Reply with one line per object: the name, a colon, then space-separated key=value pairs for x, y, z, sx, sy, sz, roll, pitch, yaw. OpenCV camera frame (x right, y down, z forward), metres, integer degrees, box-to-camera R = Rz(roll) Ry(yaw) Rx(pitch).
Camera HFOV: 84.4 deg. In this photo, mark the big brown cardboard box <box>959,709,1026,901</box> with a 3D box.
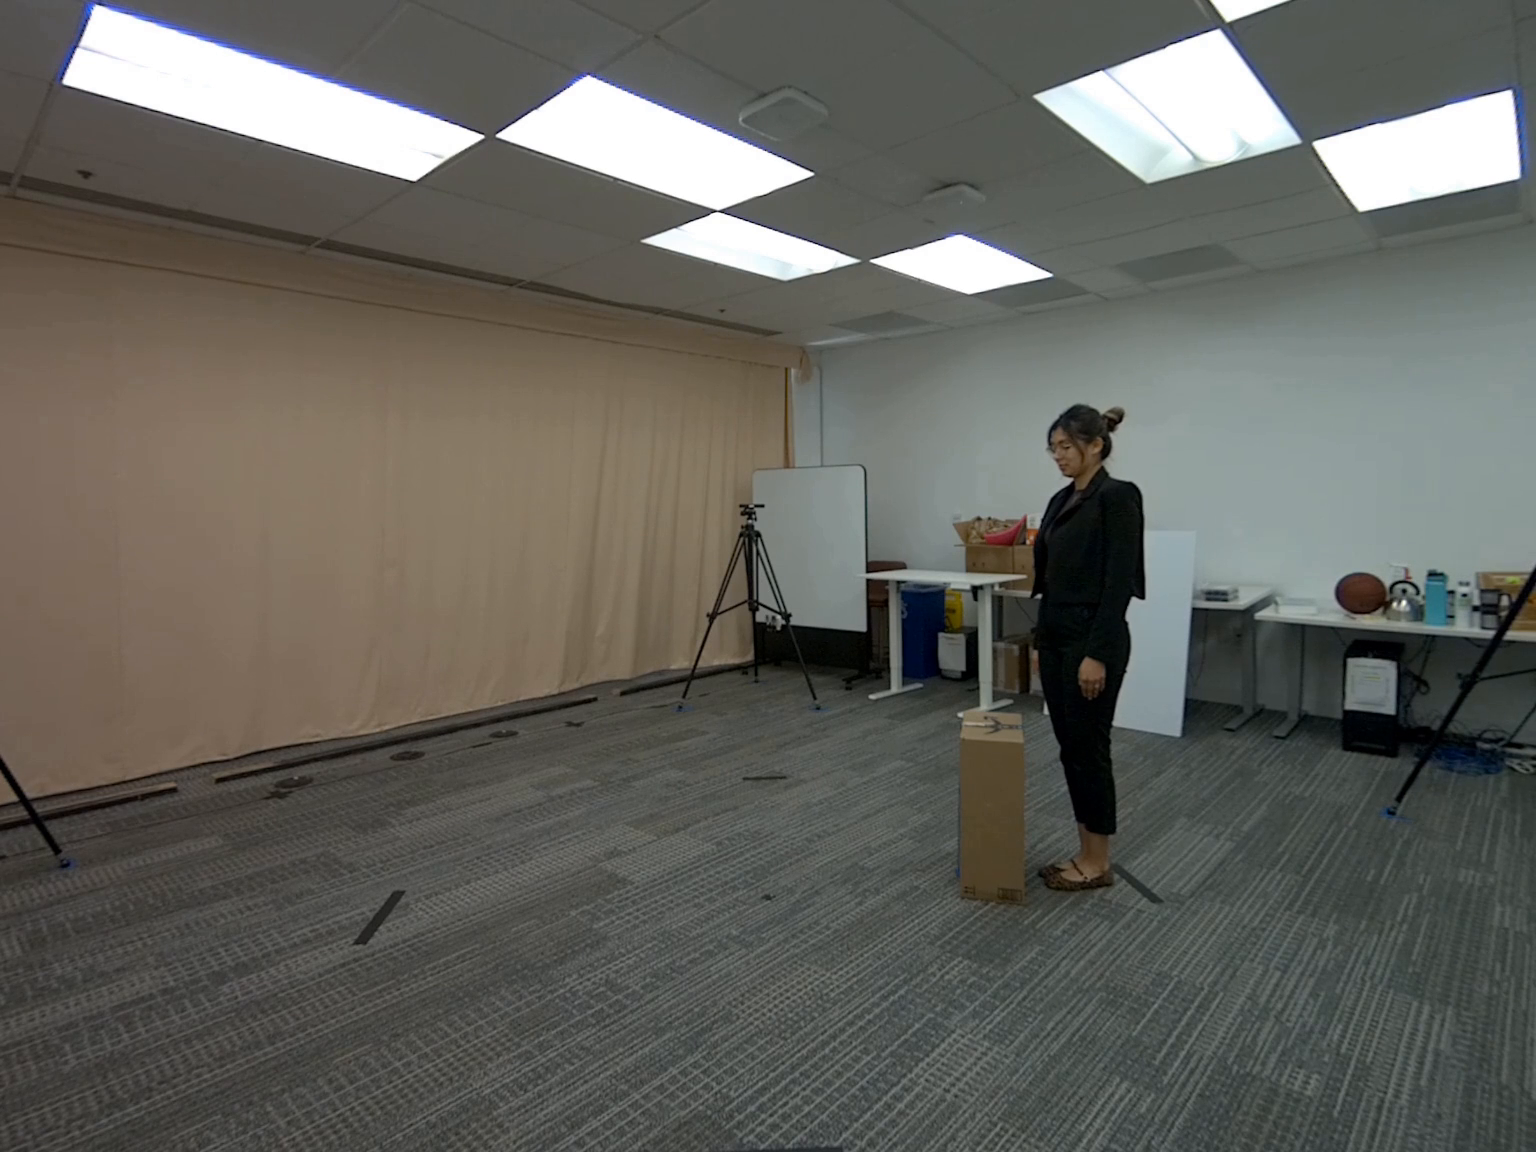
big brown cardboard box: x=0.829 y=0.838 z=3.106 sx=0.237 sy=0.588 sz=0.411 roll=1 pitch=3 yaw=15
